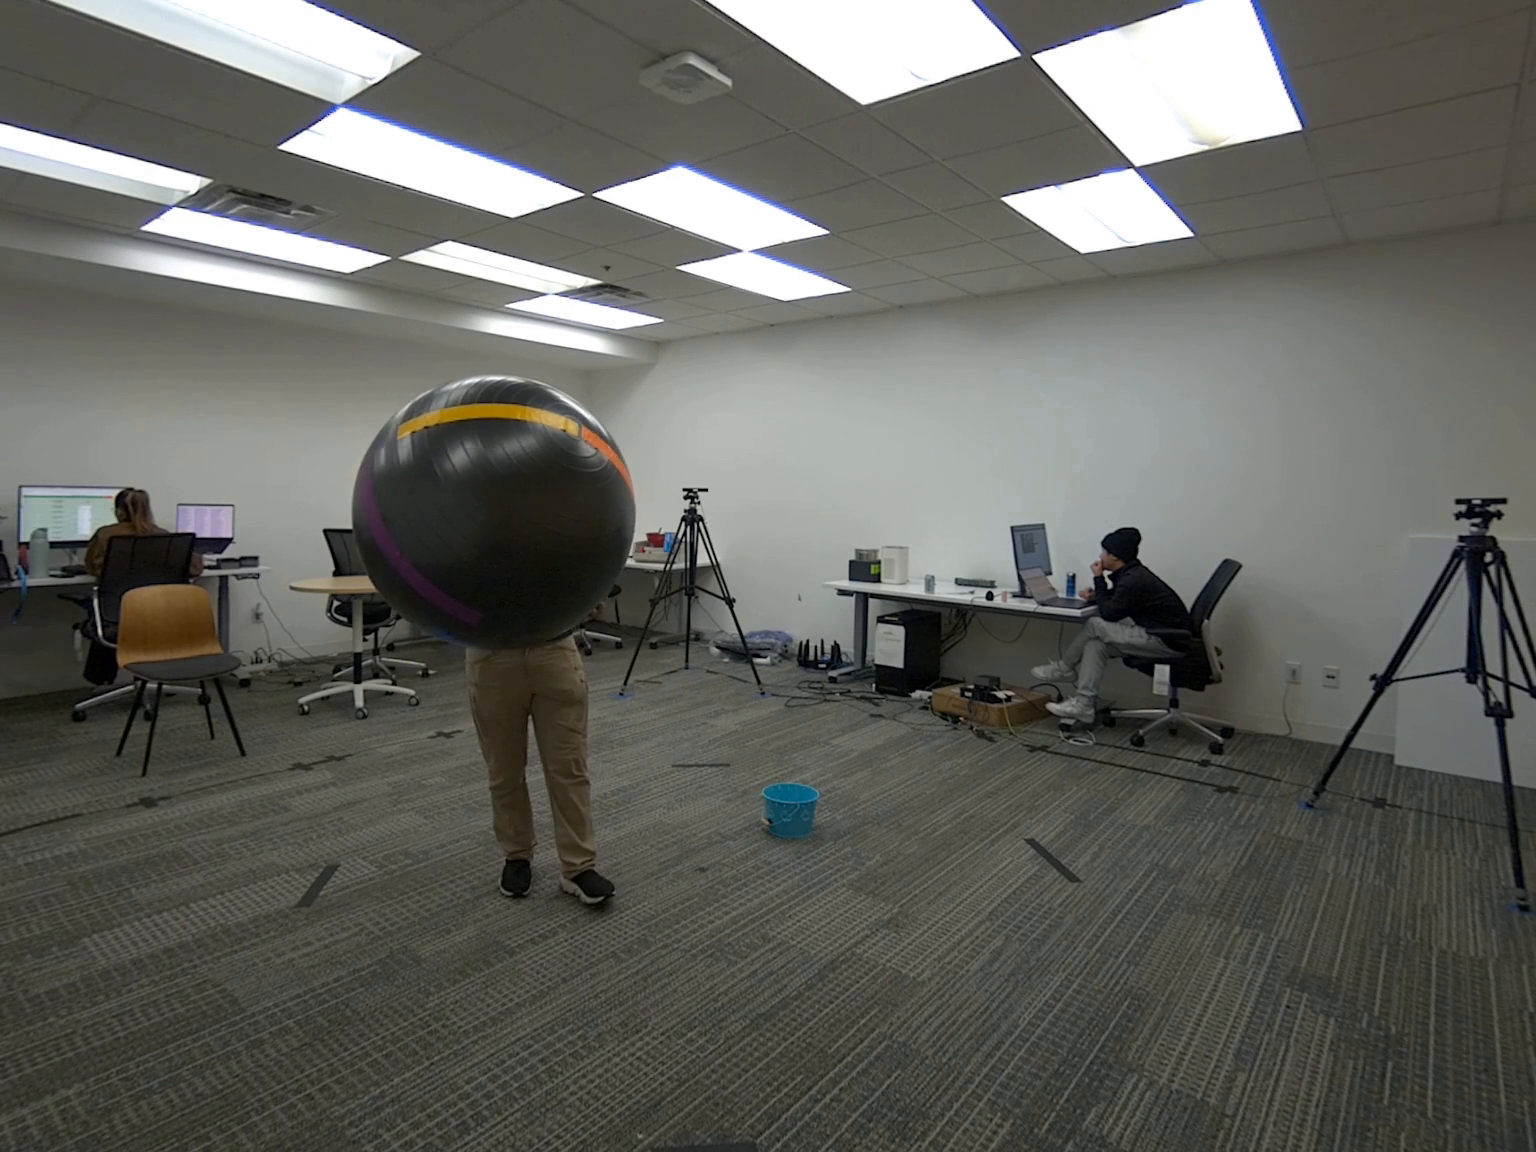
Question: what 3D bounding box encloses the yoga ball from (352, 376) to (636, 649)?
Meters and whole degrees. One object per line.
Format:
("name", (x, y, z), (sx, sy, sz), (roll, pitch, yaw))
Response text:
("yoga ball", (-0.756, -0.170, 2.365), (0.757, 0.755, 0.762), (1, 4, -2))
